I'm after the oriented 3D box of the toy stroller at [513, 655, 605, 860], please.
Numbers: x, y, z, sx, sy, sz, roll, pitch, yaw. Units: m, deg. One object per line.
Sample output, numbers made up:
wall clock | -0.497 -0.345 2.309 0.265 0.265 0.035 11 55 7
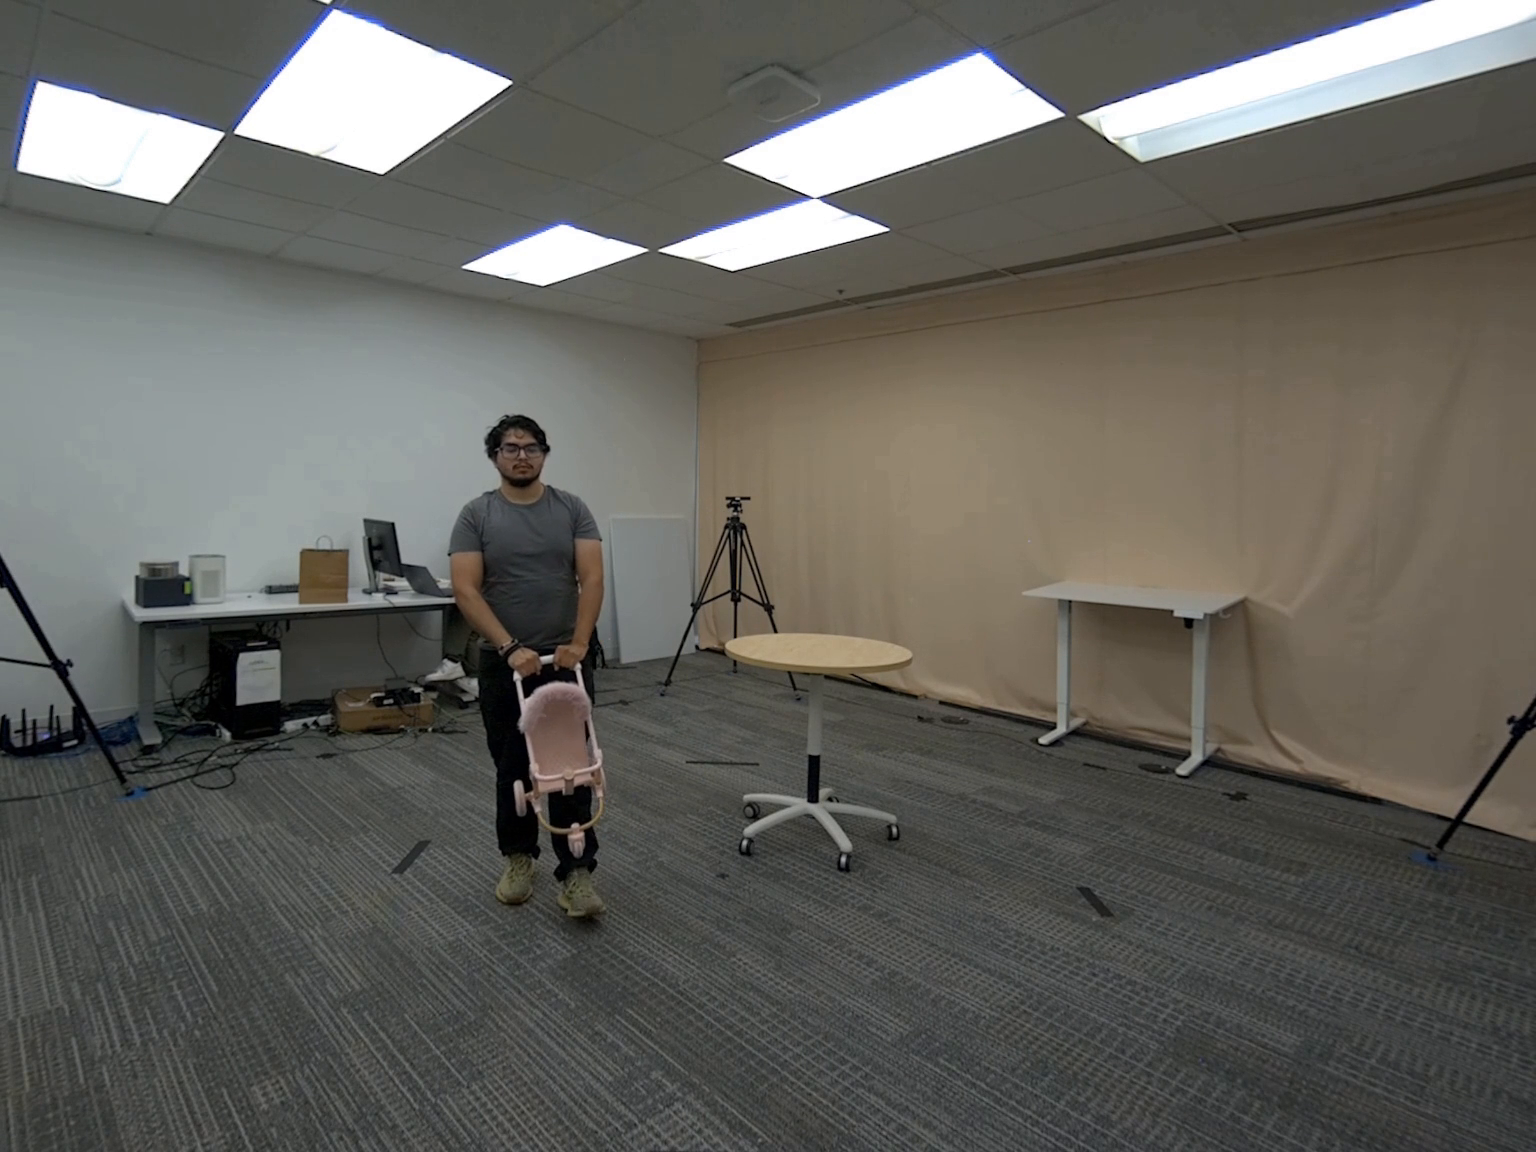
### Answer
toy stroller | -0.631 0.546 2.546 0.278 0.531 0.348 -6 9 -19
